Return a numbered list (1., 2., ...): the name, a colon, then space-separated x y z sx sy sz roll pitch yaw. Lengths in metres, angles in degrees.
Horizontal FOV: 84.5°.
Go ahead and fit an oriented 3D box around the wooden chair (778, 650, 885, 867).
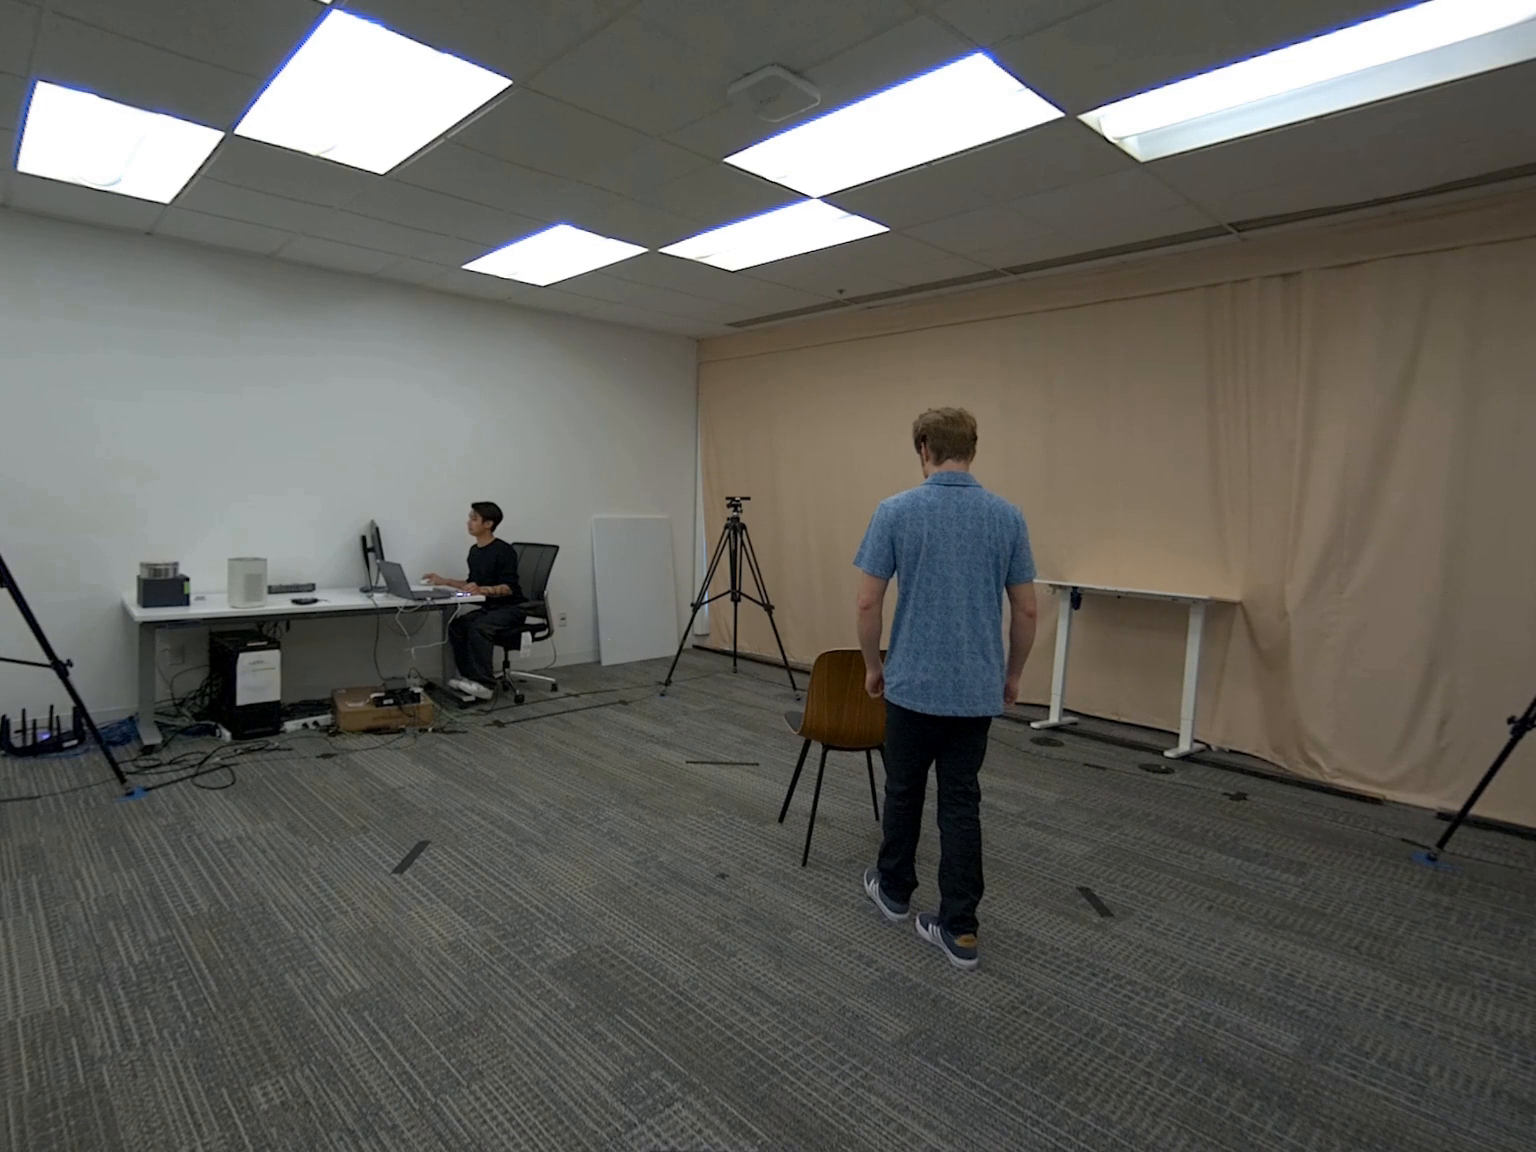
1. wooden chair: 0.303 0.658 3.430 0.474 0.873 0.530 1 7 -11
